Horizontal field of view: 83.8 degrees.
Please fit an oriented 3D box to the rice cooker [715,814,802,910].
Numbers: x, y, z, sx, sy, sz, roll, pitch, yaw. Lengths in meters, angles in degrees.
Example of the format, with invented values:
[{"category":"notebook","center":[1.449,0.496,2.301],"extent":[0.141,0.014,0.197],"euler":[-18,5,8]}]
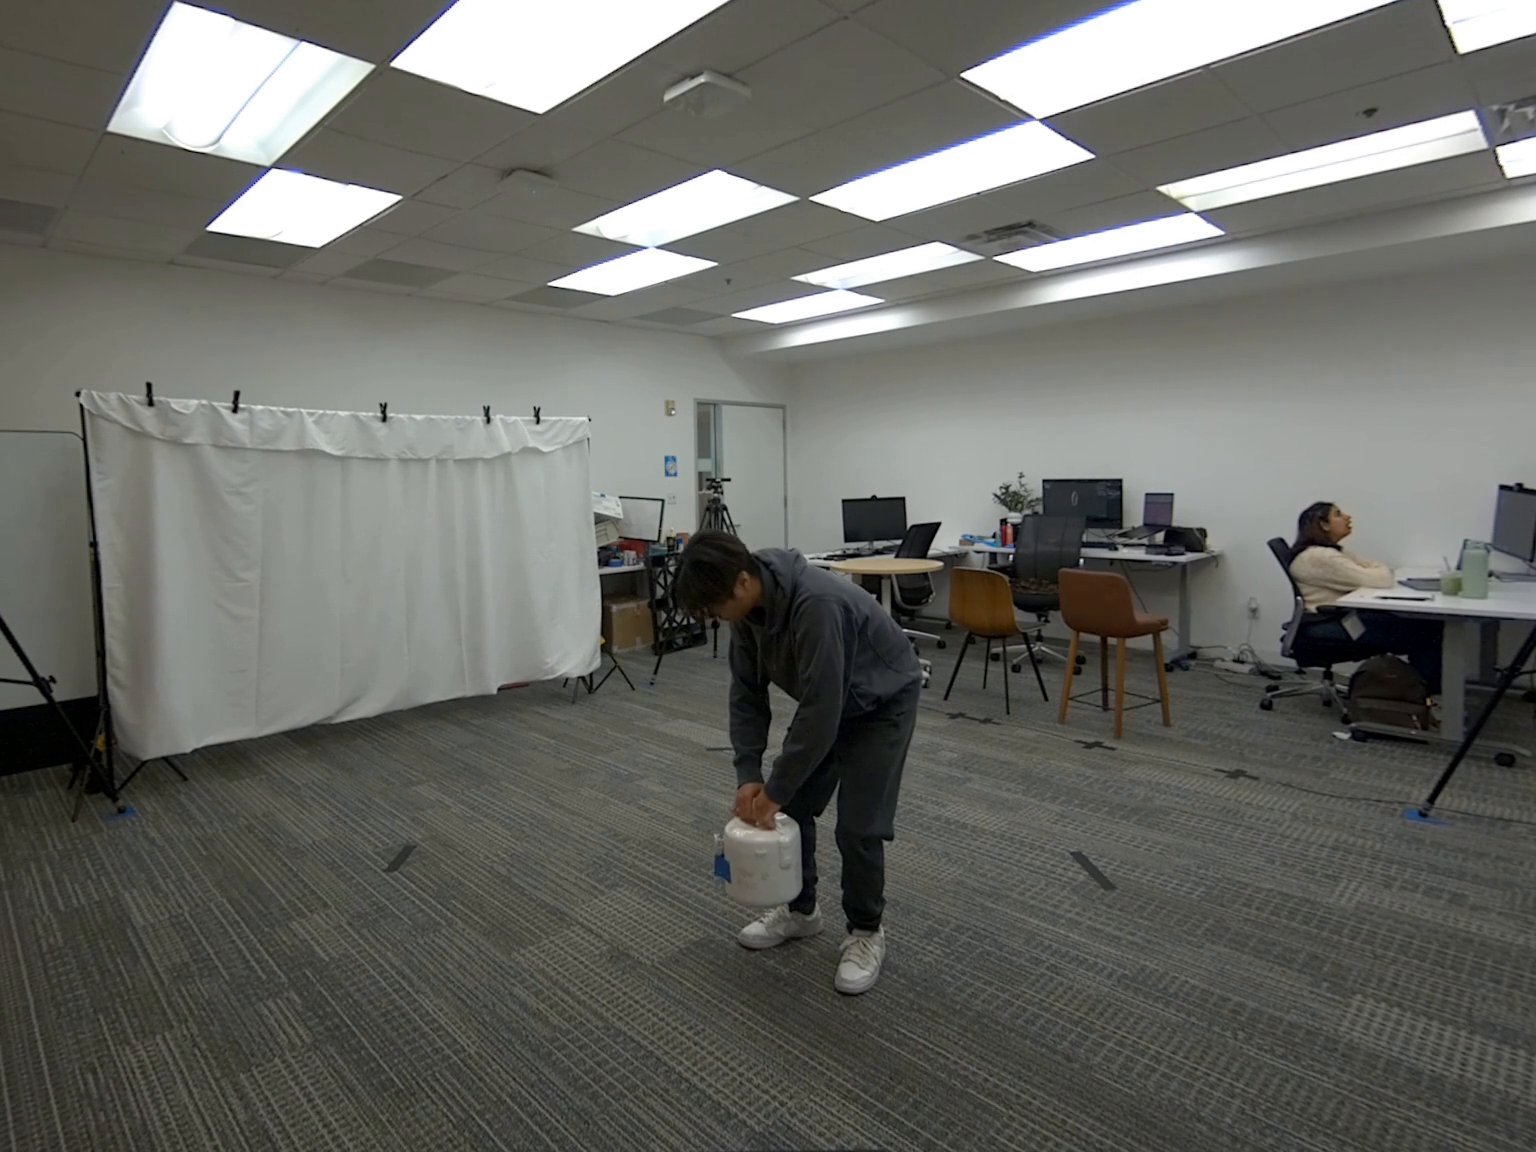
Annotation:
[{"category":"rice cooker","center":[-0.006,0.759,2.319],"extent":[0.212,0.232,0.226],"euler":[-5,4,-33]}]
